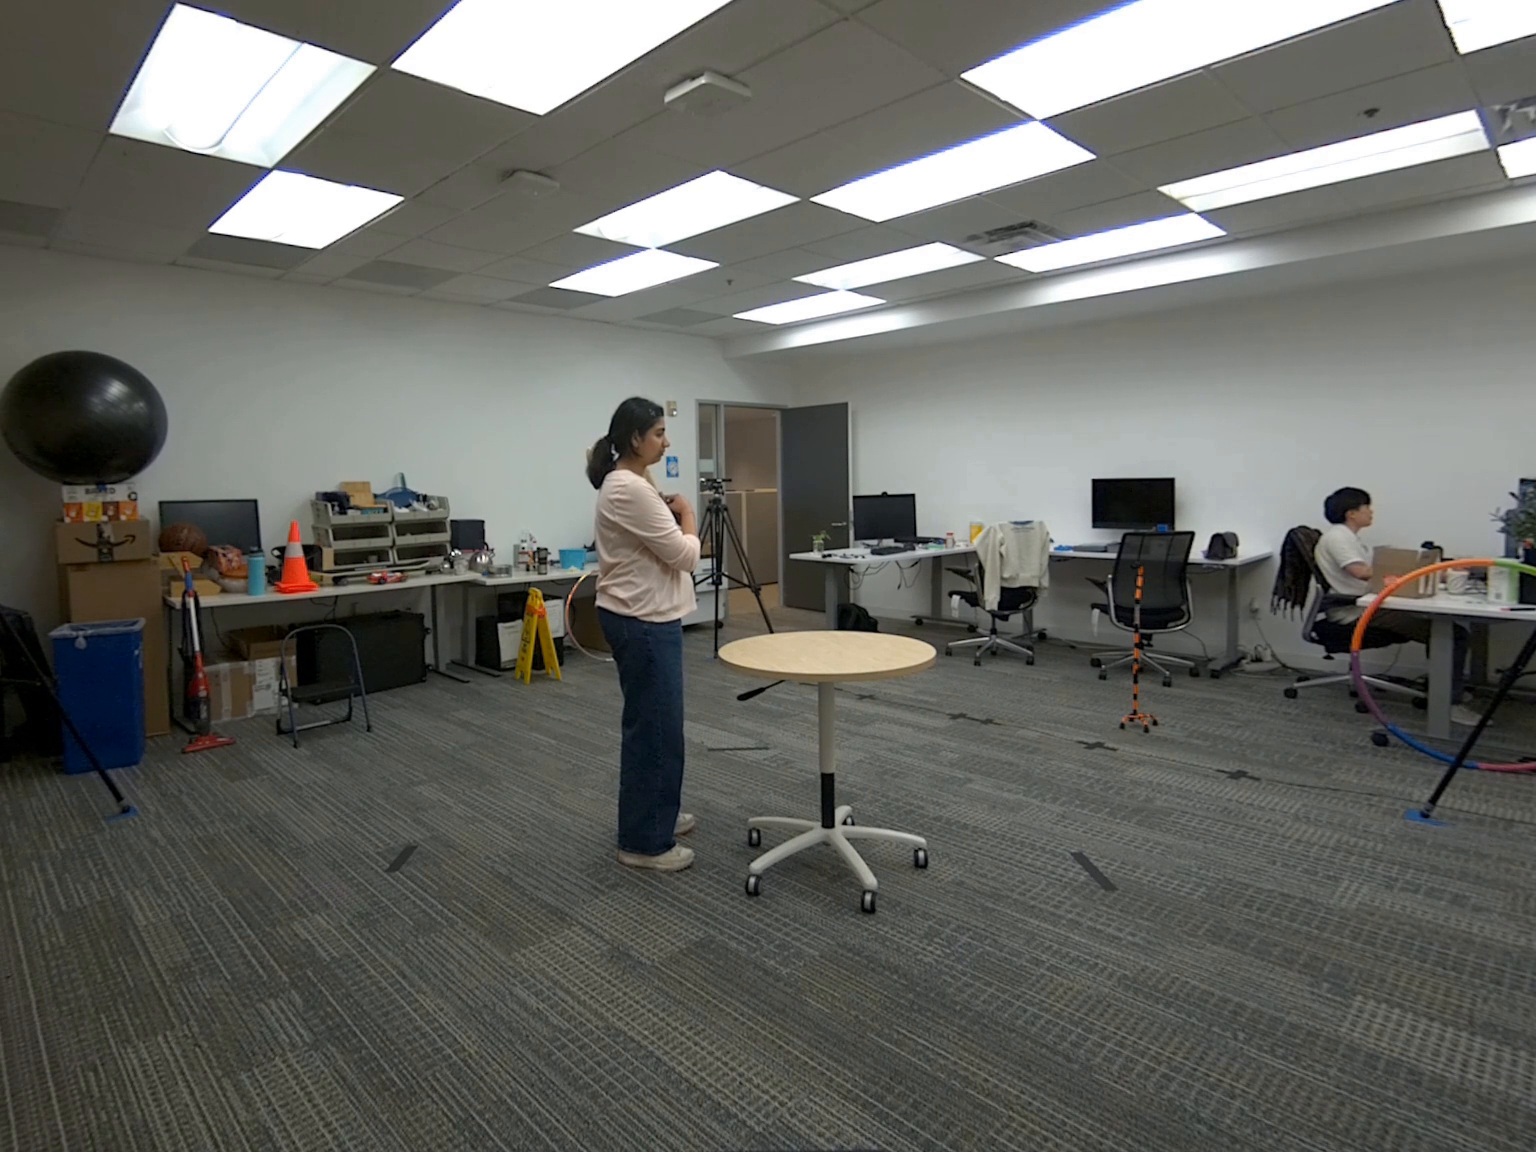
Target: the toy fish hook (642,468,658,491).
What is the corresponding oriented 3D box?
[{"bbox_3d":[-0.490,-0.320,3.259,0.225,0.504,0.048,-40,3,12],"label":"toy fish hook"}]
